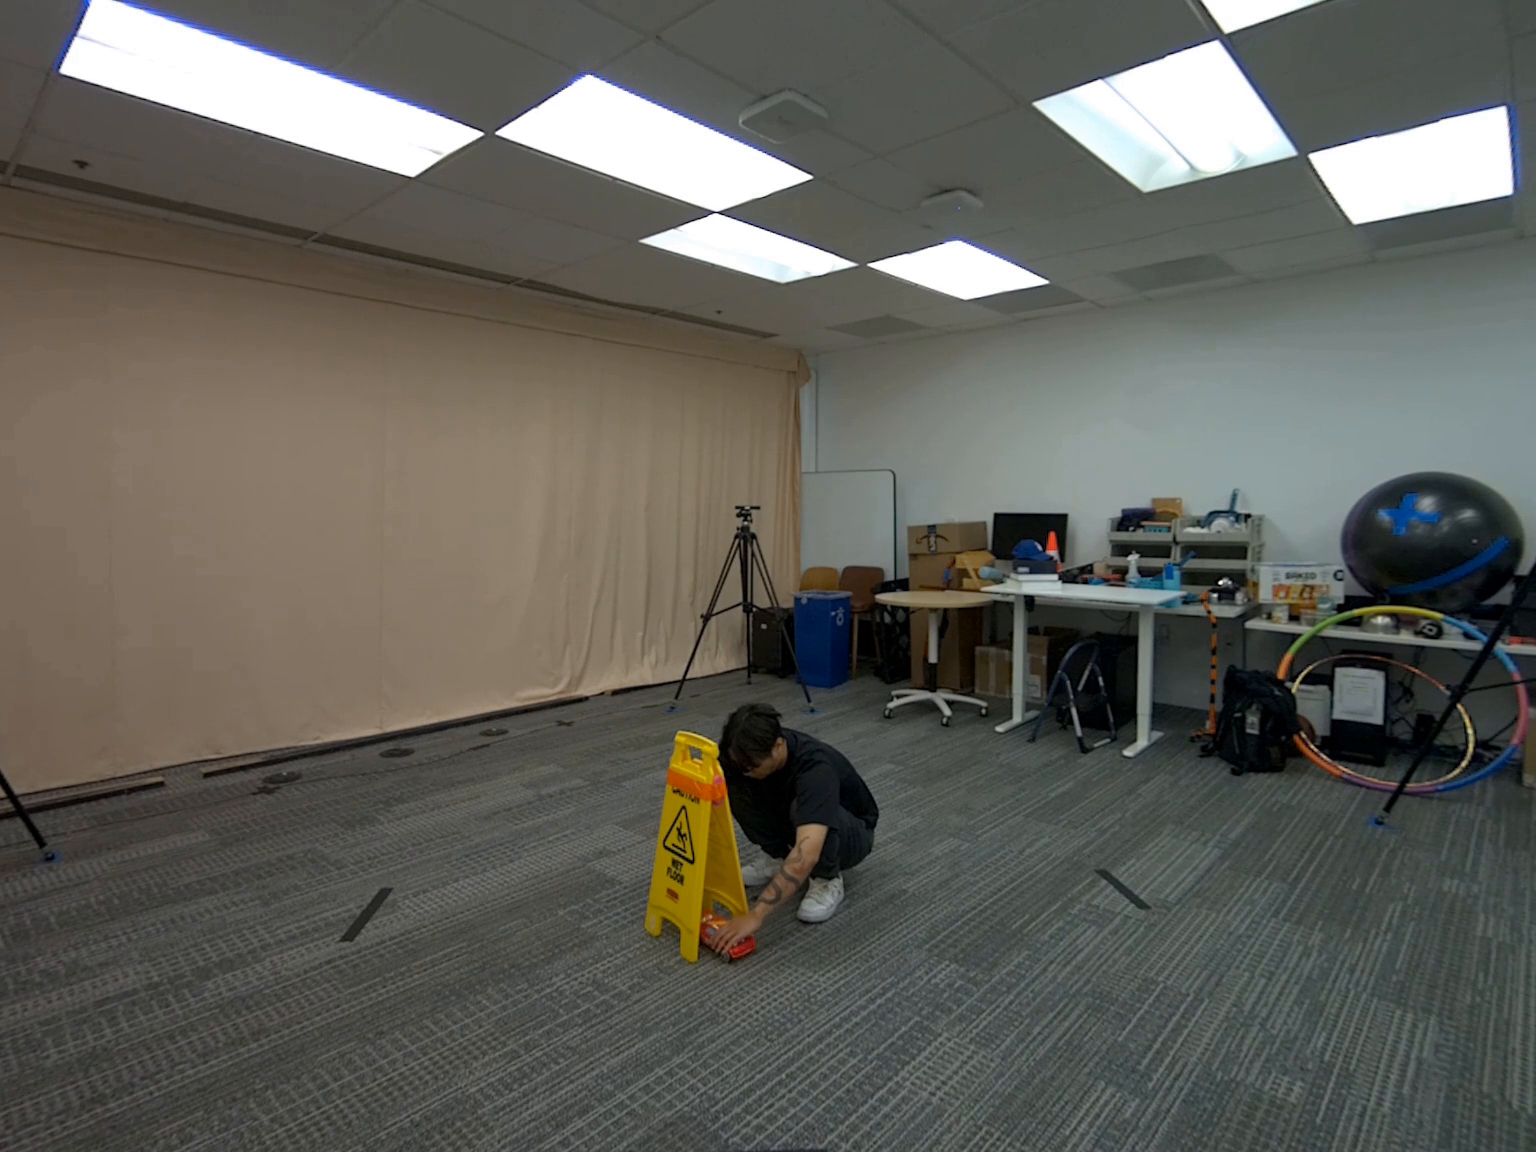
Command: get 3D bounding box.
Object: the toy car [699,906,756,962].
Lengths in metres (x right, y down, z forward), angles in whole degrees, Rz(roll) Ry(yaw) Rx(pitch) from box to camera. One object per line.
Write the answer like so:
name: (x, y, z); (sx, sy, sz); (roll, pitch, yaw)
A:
toy car: (-0.164, 1.142, 2.666); (0.126, 0.083, 0.264); (-4, 18, -43)
